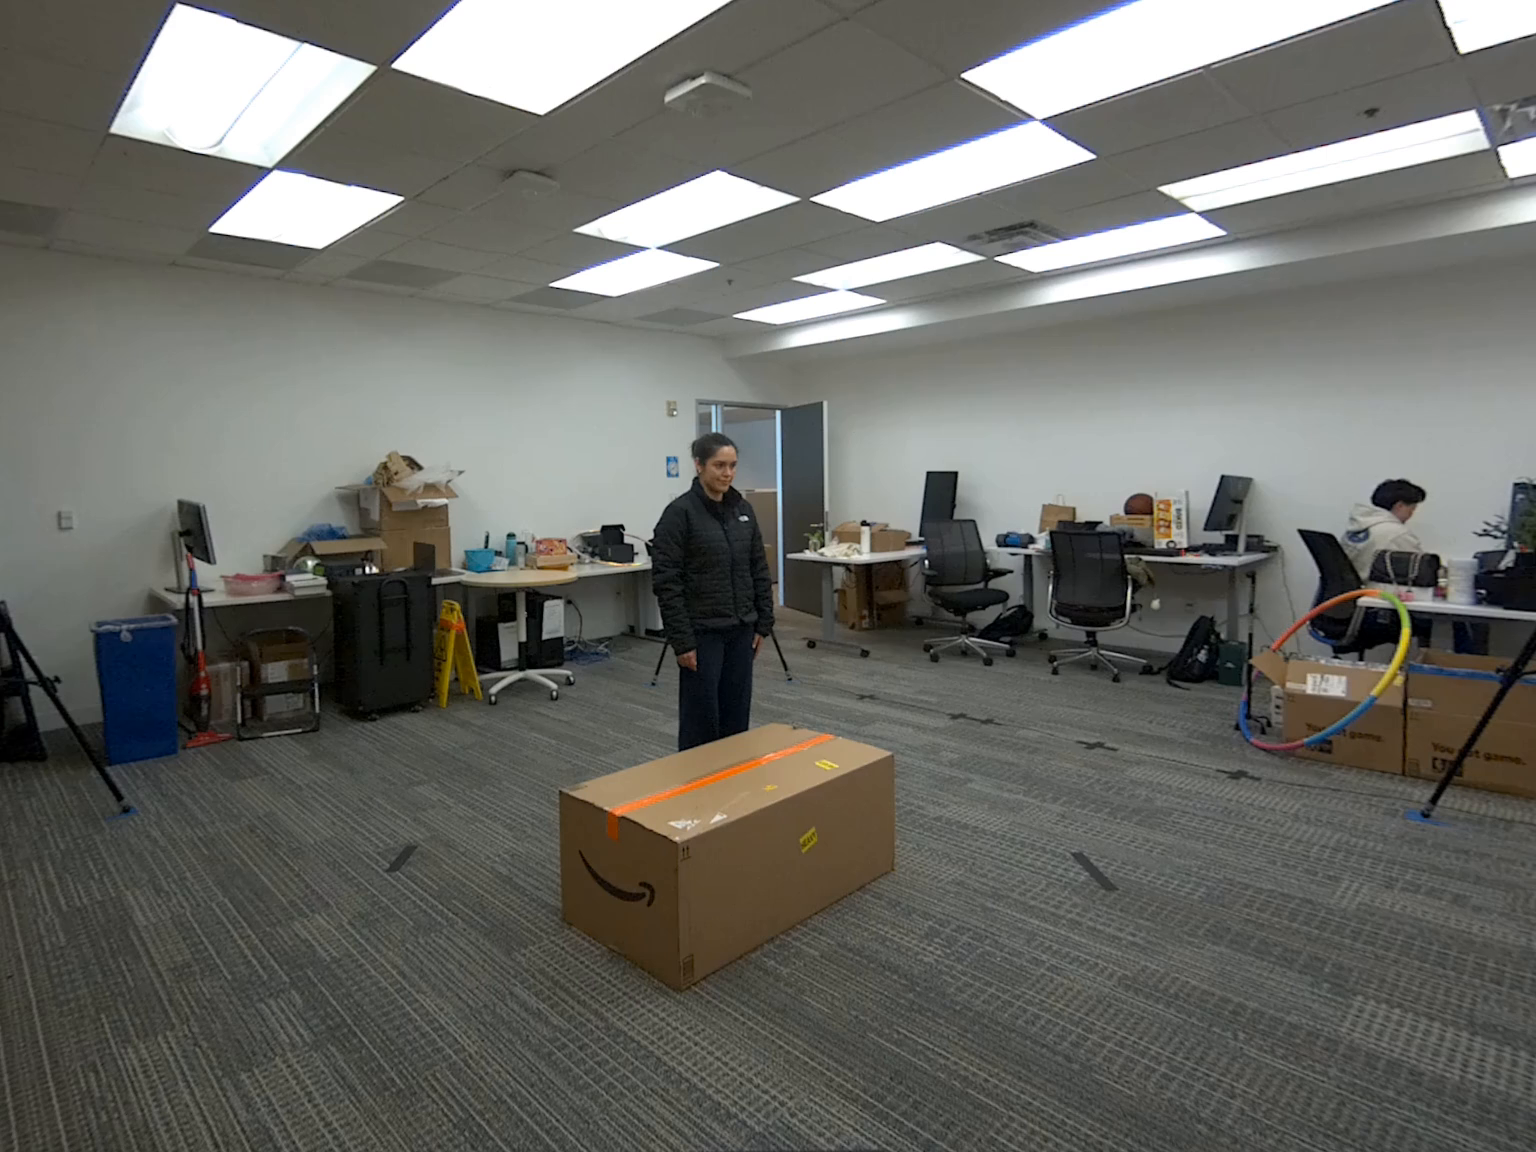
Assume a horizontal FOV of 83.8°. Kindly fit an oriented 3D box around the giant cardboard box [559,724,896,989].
[{"bbox_3d":[-0.106,0.862,2.886,0.601,0.445,1.001,3,8,44],"label":"giant cardboard box"}]
